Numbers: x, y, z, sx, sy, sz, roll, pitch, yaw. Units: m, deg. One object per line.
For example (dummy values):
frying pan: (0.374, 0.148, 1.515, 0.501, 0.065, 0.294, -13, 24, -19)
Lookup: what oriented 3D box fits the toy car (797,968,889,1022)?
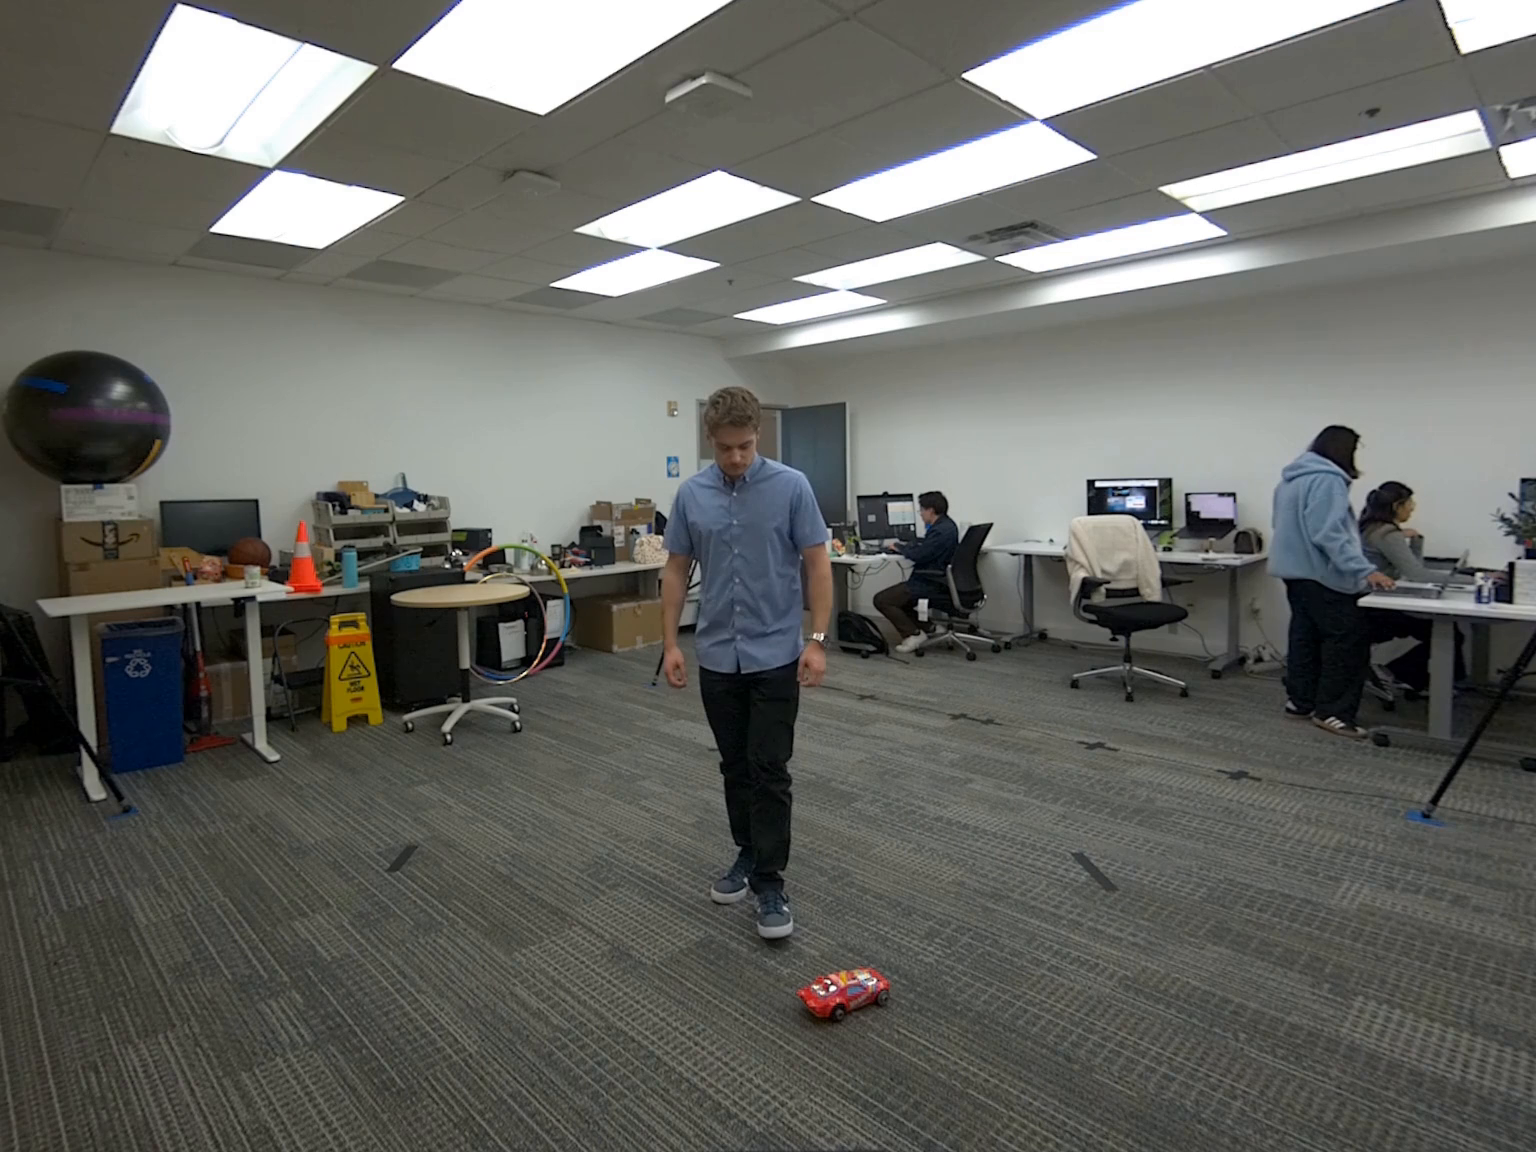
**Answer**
toy car: (0.203, 1.108, 2.261, 0.248, 0.083, 0.134, 8, 2, -28)
